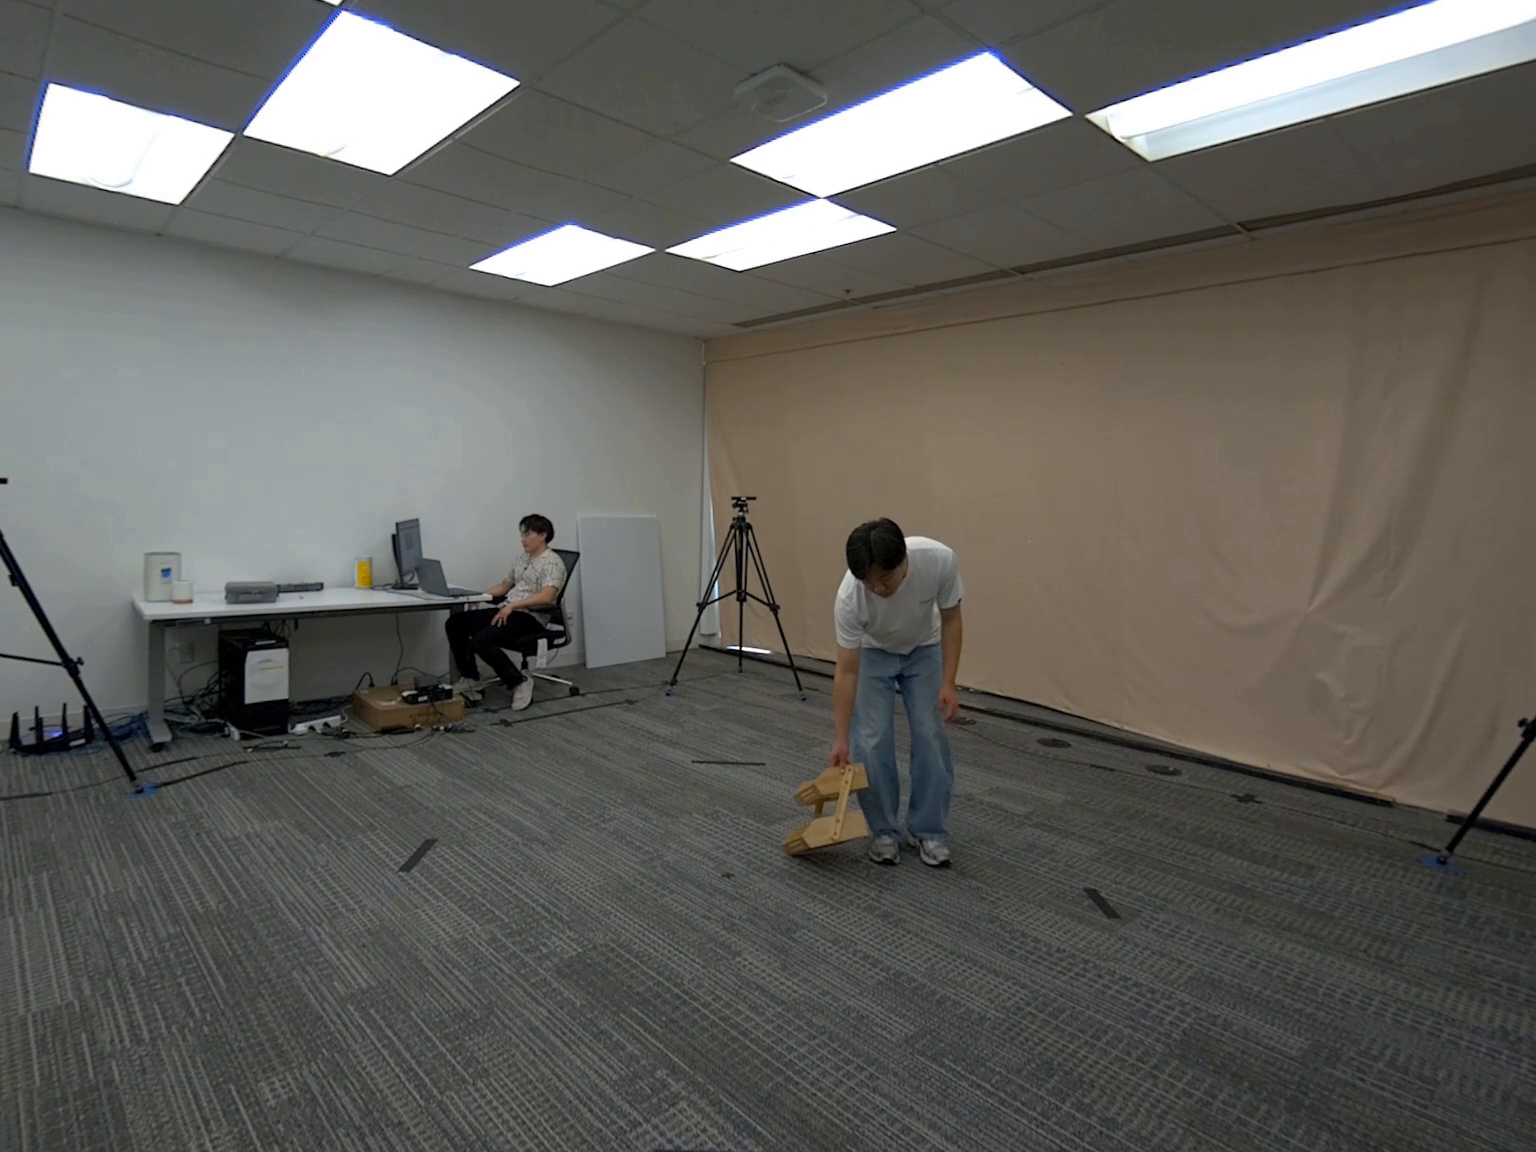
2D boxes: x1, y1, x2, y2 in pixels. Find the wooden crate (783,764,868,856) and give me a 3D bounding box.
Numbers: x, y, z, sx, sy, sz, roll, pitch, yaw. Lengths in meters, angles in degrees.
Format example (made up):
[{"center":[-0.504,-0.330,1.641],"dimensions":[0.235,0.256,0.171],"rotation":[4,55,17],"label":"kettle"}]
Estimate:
[{"center":[0.200,0.898,3.243],"dimensions":[0.298,0.278,0.322],"rotation":[-6,-22,-17],"label":"wooden crate"}]
